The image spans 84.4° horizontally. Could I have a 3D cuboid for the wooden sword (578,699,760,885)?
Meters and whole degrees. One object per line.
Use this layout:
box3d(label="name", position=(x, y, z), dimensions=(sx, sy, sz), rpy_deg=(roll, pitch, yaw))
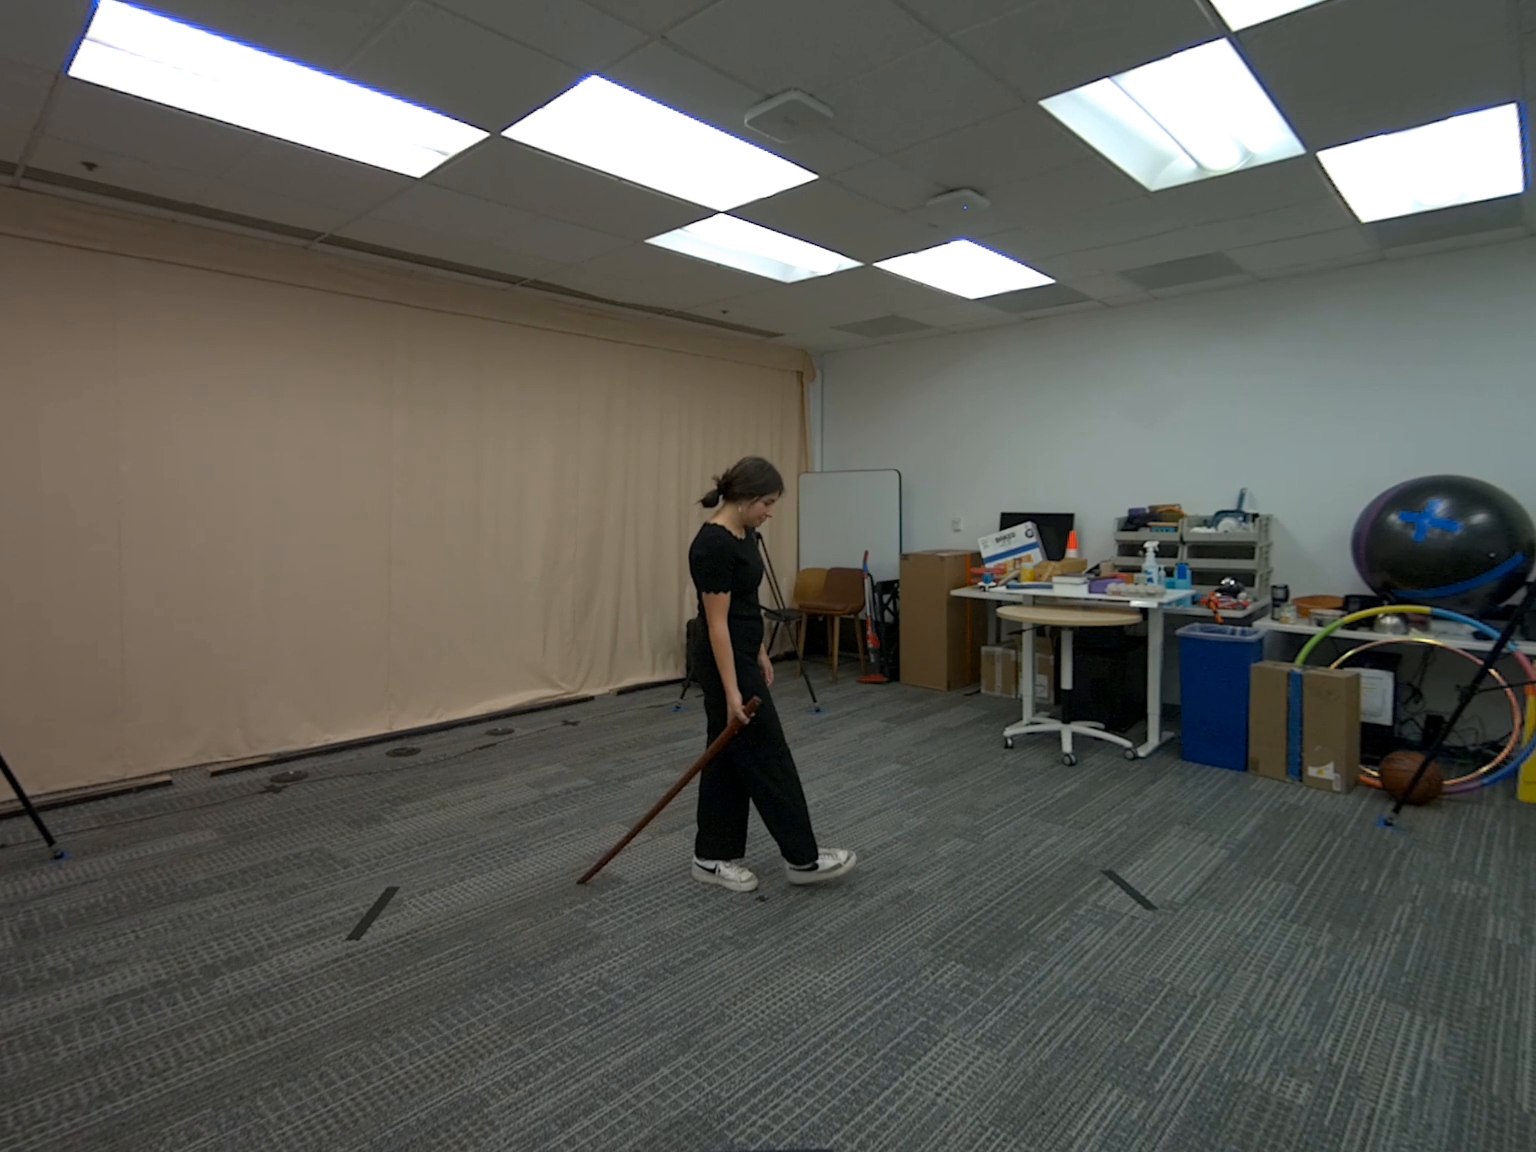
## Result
box3d(label="wooden sword", position=(-0.363, 0.788, 2.961), dimensions=(1.030, 0.024, 0.050), rpy_deg=(-46, -6, 20))
